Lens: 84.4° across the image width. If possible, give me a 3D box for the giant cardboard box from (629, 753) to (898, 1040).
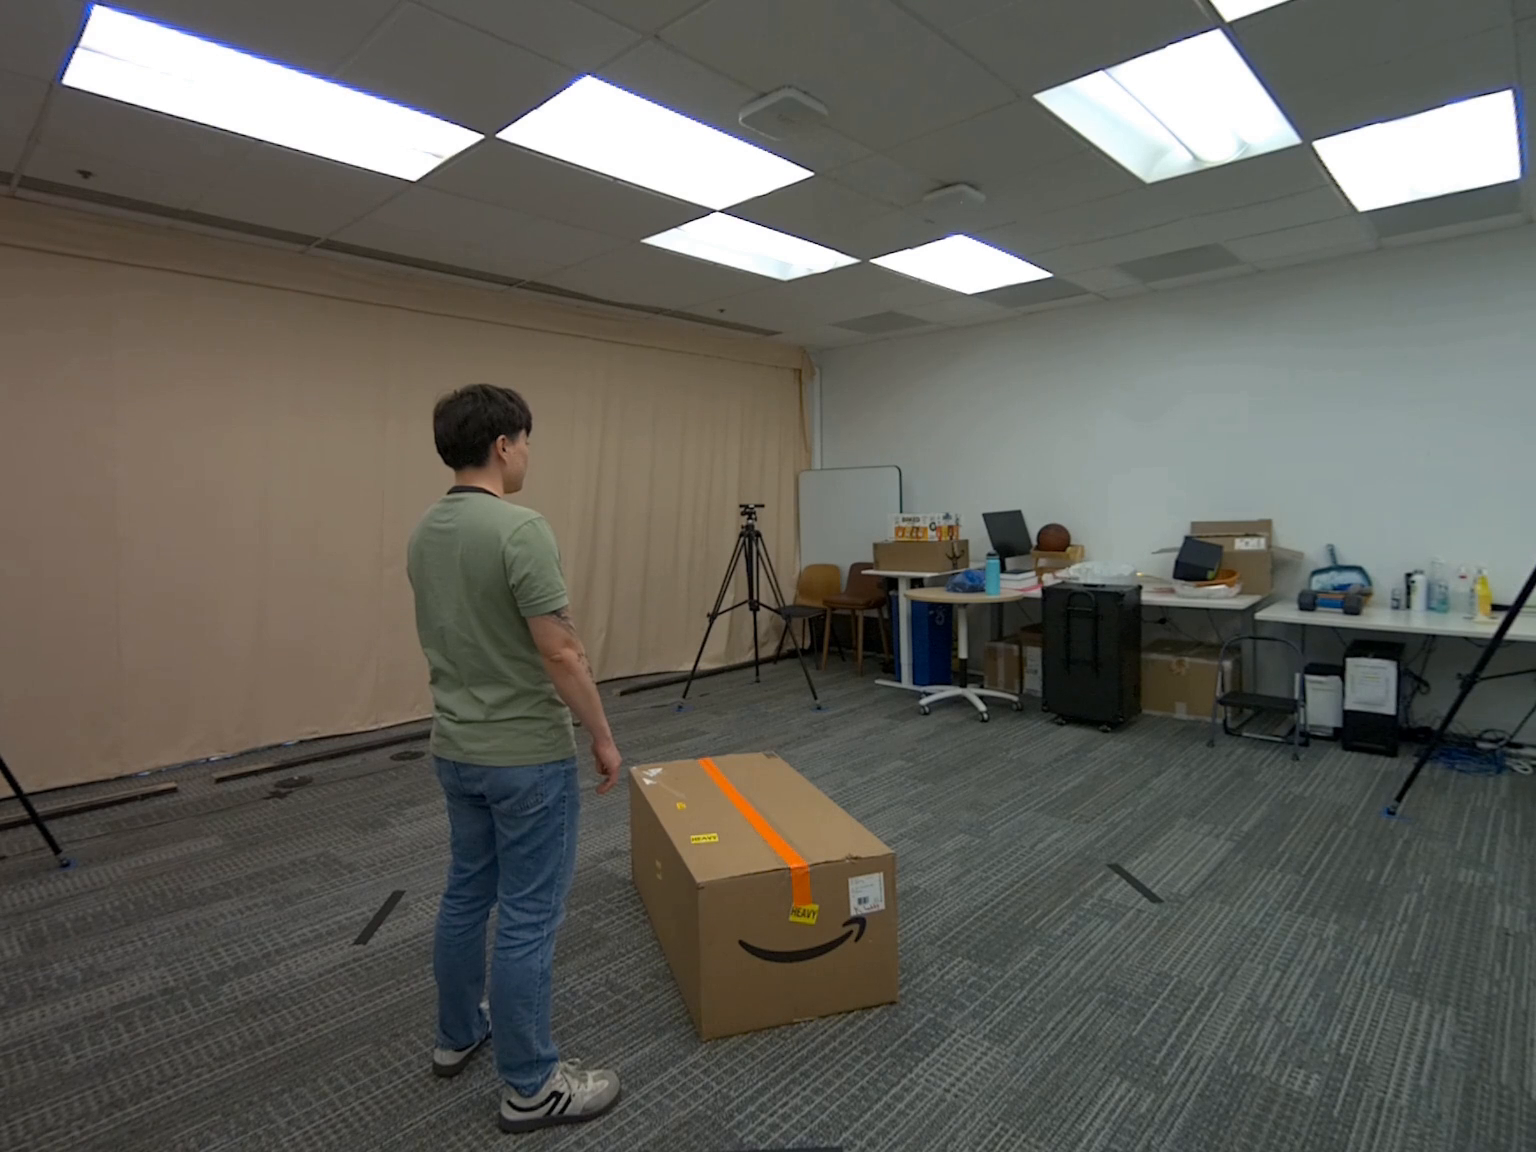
[{"bbox_3d":[-0.073,0.943,2.741,0.567,0.425,1.047,-3,5,-19],"label":"giant cardboard box"}]
